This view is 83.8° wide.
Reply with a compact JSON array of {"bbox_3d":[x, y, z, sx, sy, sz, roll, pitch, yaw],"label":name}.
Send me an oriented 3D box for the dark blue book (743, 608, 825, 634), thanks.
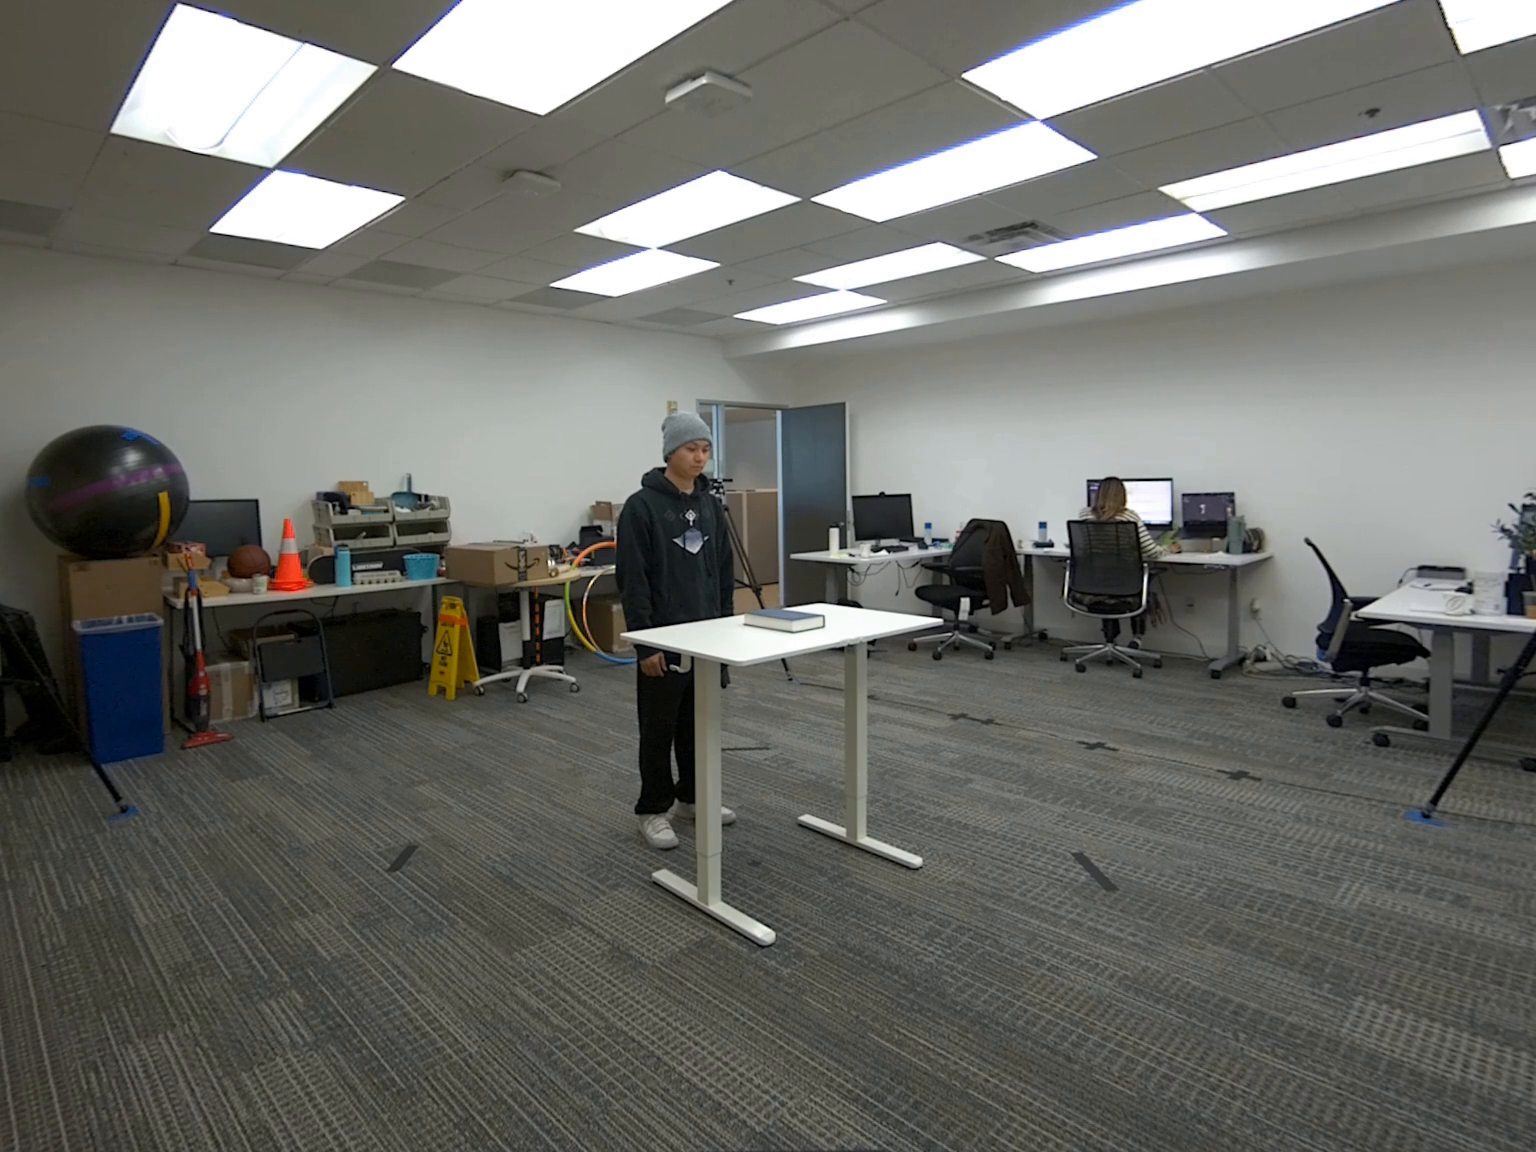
[{"bbox_3d":[0.066,0.156,2.977,0.159,0.045,0.253,-6,8,-43],"label":"dark blue book"}]
